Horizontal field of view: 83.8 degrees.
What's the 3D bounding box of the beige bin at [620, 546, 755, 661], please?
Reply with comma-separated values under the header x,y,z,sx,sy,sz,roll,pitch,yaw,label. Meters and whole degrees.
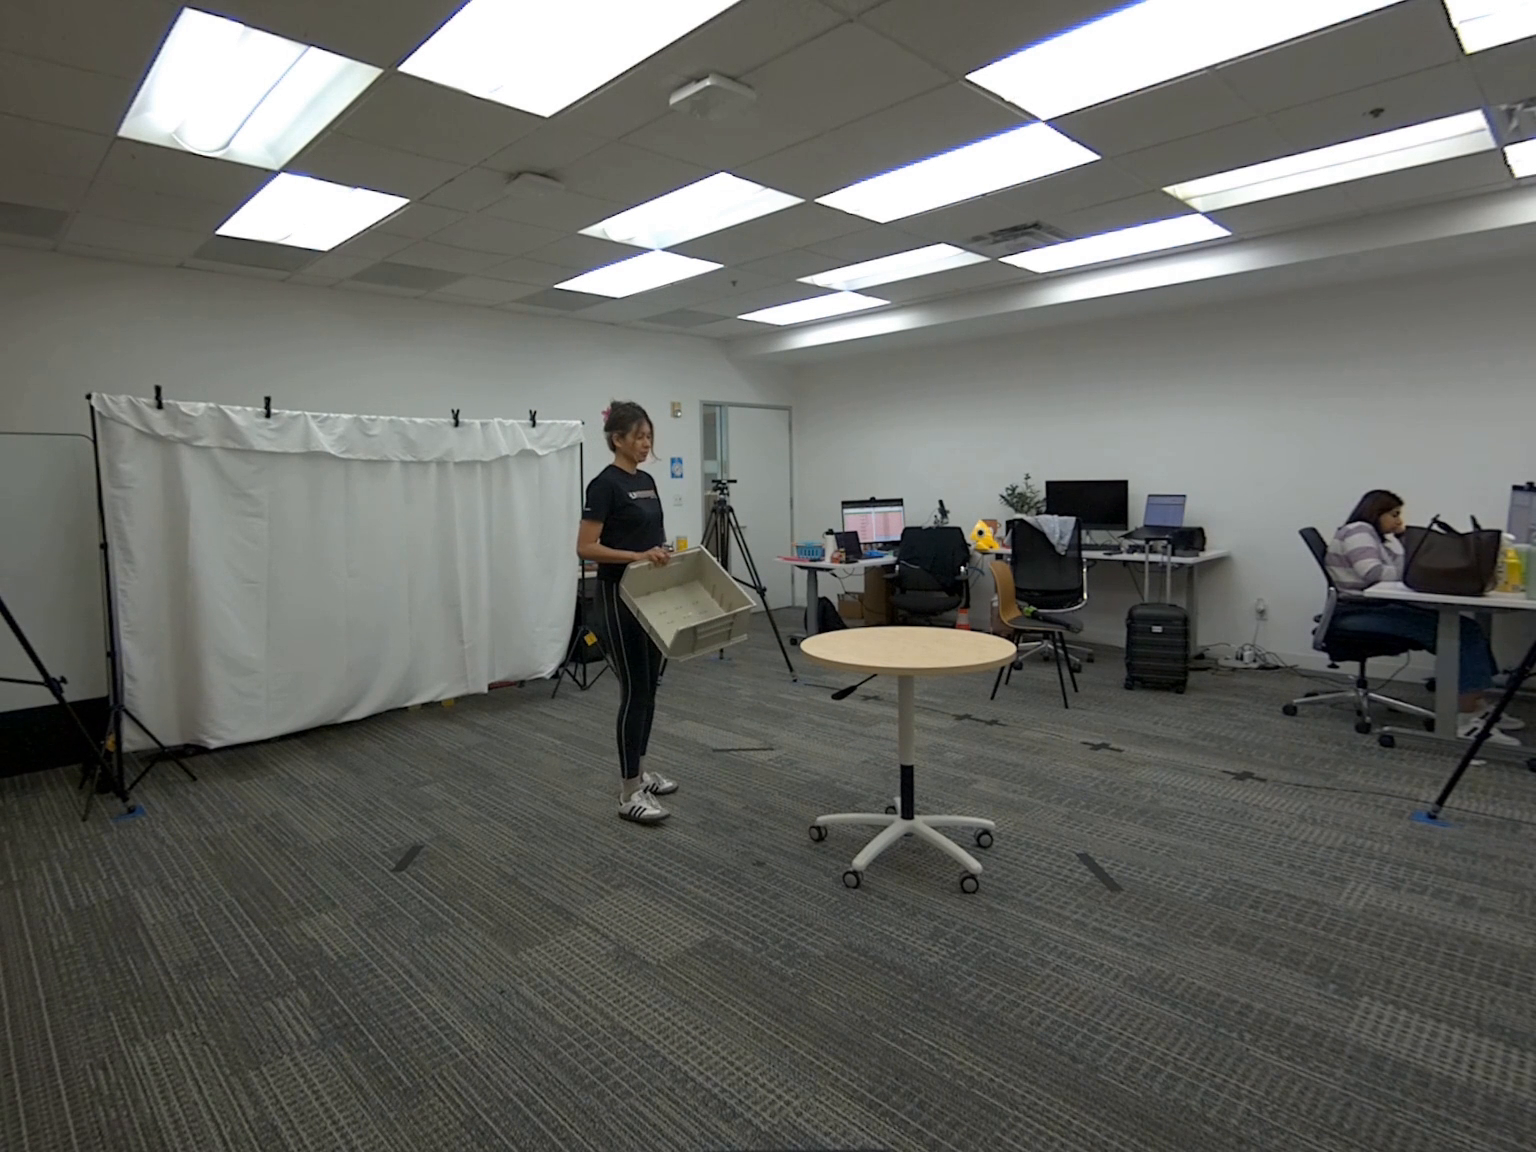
x,y,z,sx,sy,sz,roll,pitch,yaw,label
-0.324,0.108,3.372,0.370,0.185,0.439,-15,42,-30,beige bin
